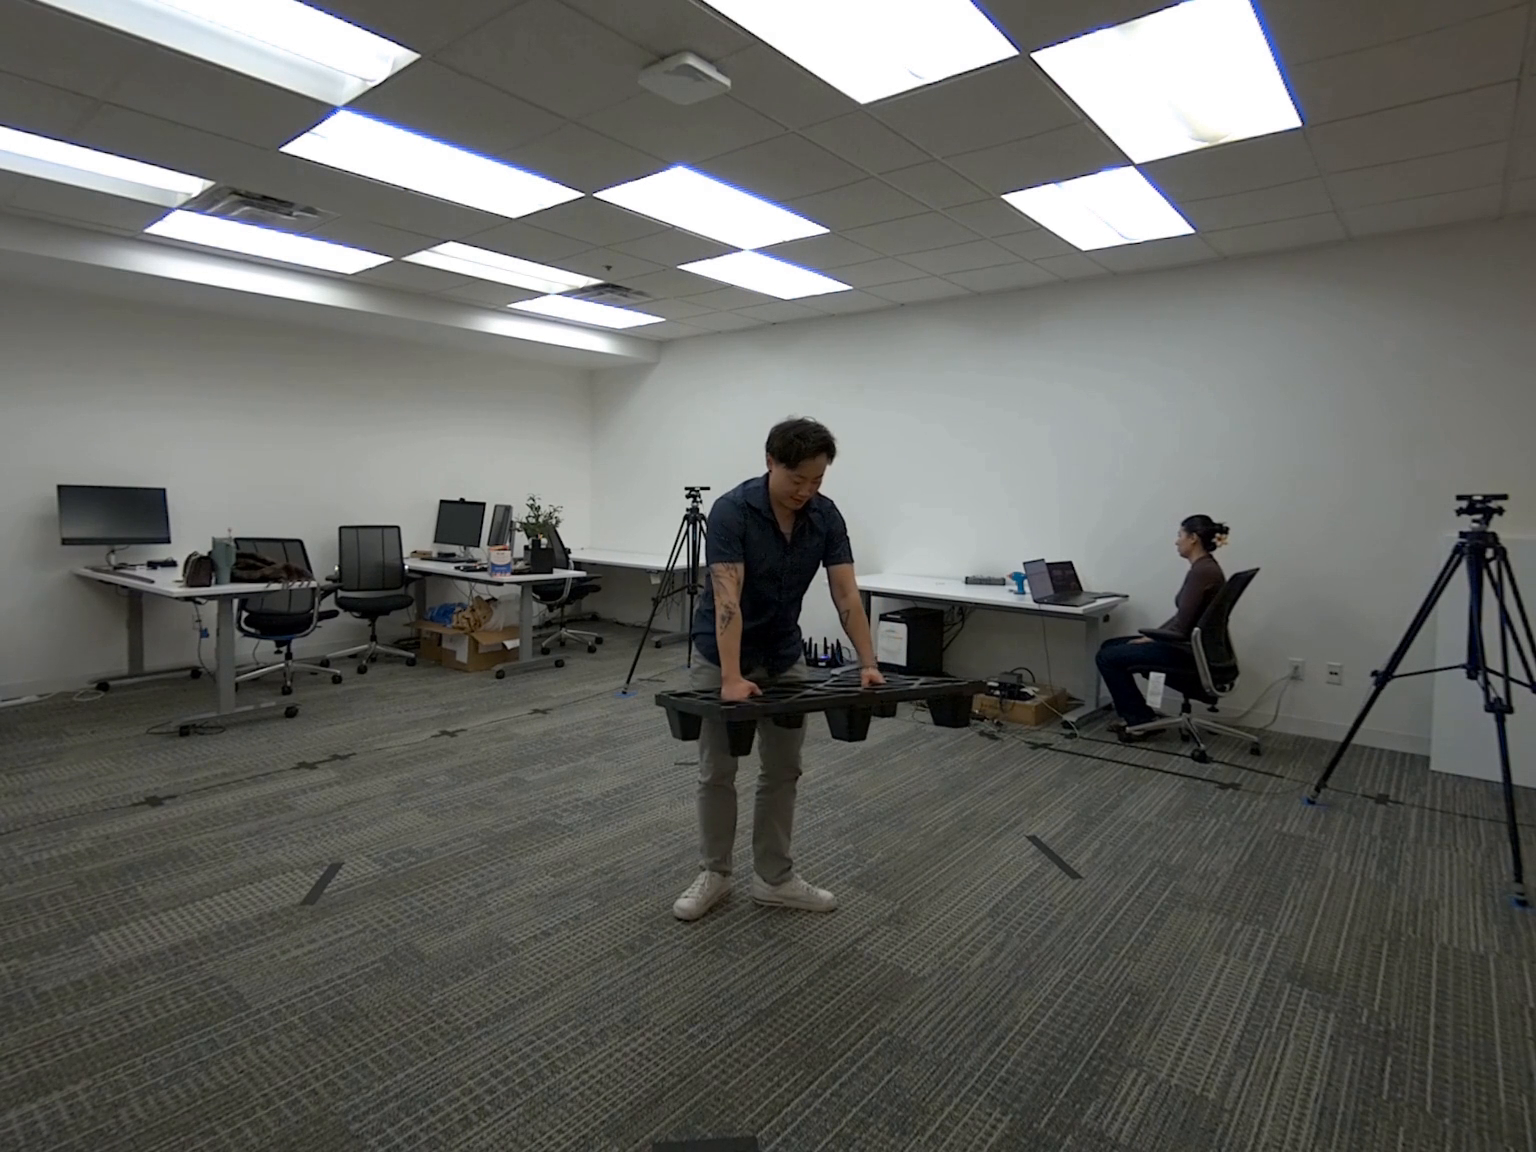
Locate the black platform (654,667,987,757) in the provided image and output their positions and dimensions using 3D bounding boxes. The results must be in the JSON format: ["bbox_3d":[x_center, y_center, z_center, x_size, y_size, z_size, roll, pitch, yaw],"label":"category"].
[{"bbox_3d":[0.130,0.393,2.486,0.788,0.144,0.615,-3,-4,-24],"label":"black platform"}]
